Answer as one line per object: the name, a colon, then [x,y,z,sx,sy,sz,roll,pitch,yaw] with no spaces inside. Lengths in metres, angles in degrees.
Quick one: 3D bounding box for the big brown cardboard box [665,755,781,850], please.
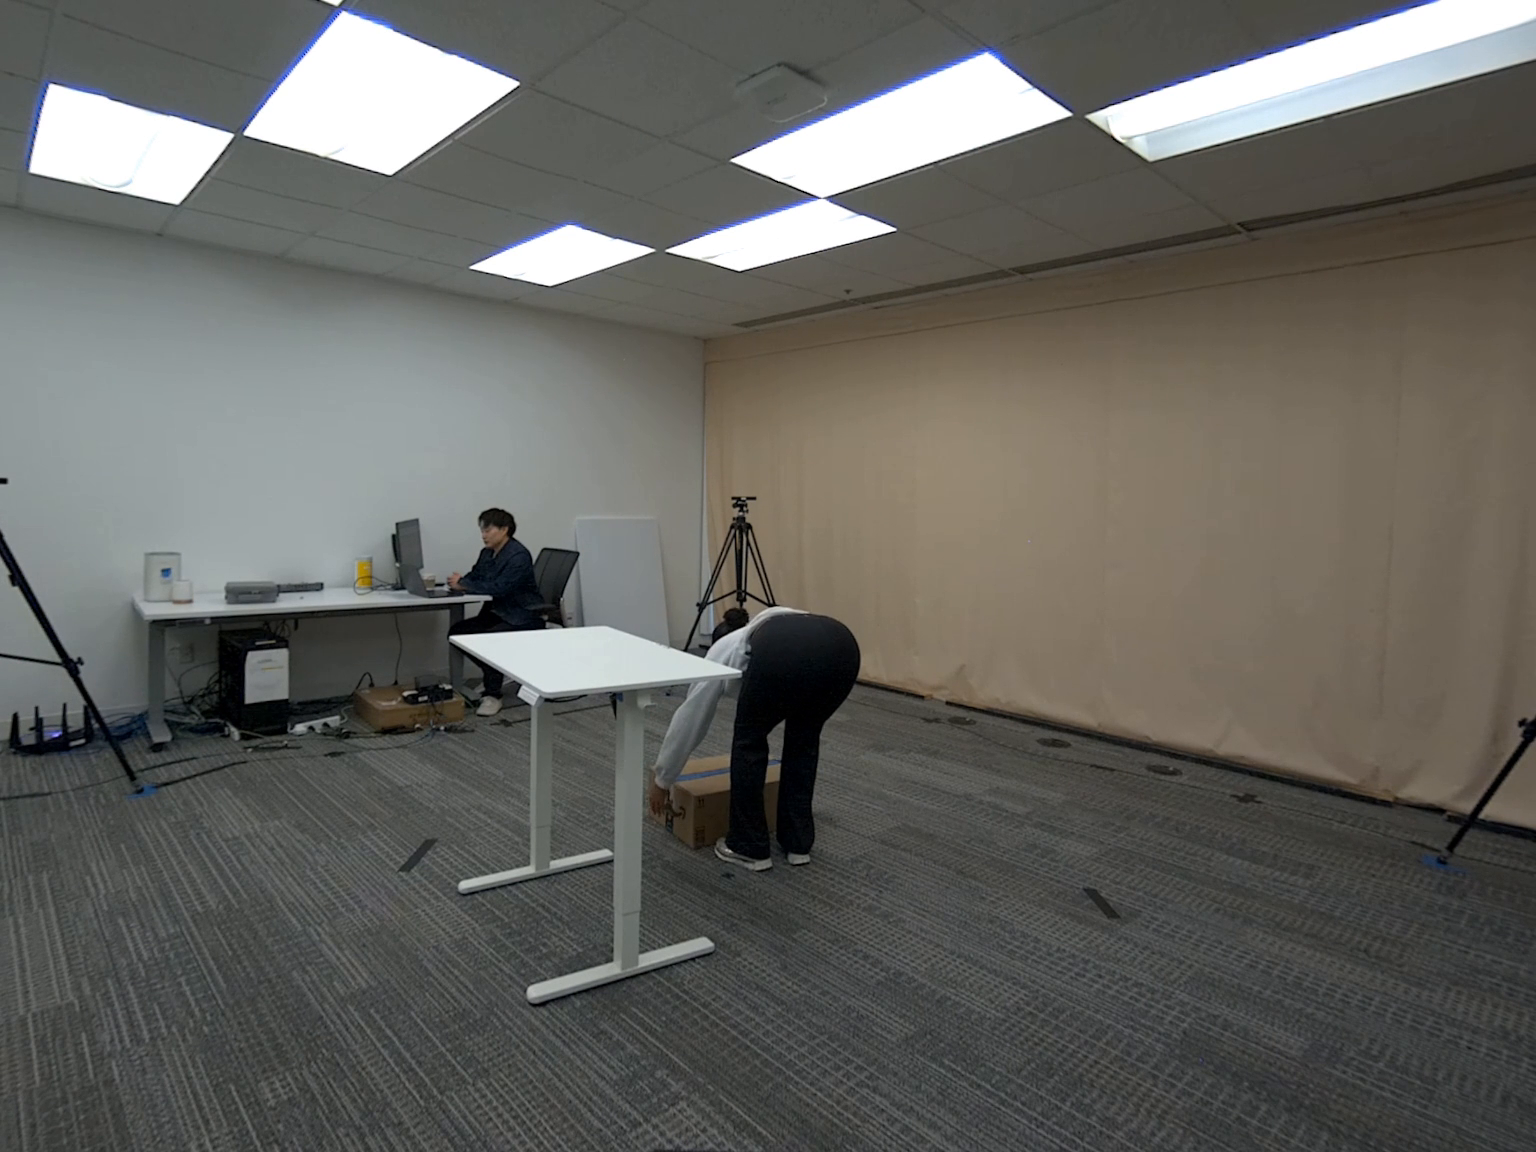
big brown cardboard box: [-0.177,0.946,3.643,0.576,0.232,0.427,-2,5,-33]
